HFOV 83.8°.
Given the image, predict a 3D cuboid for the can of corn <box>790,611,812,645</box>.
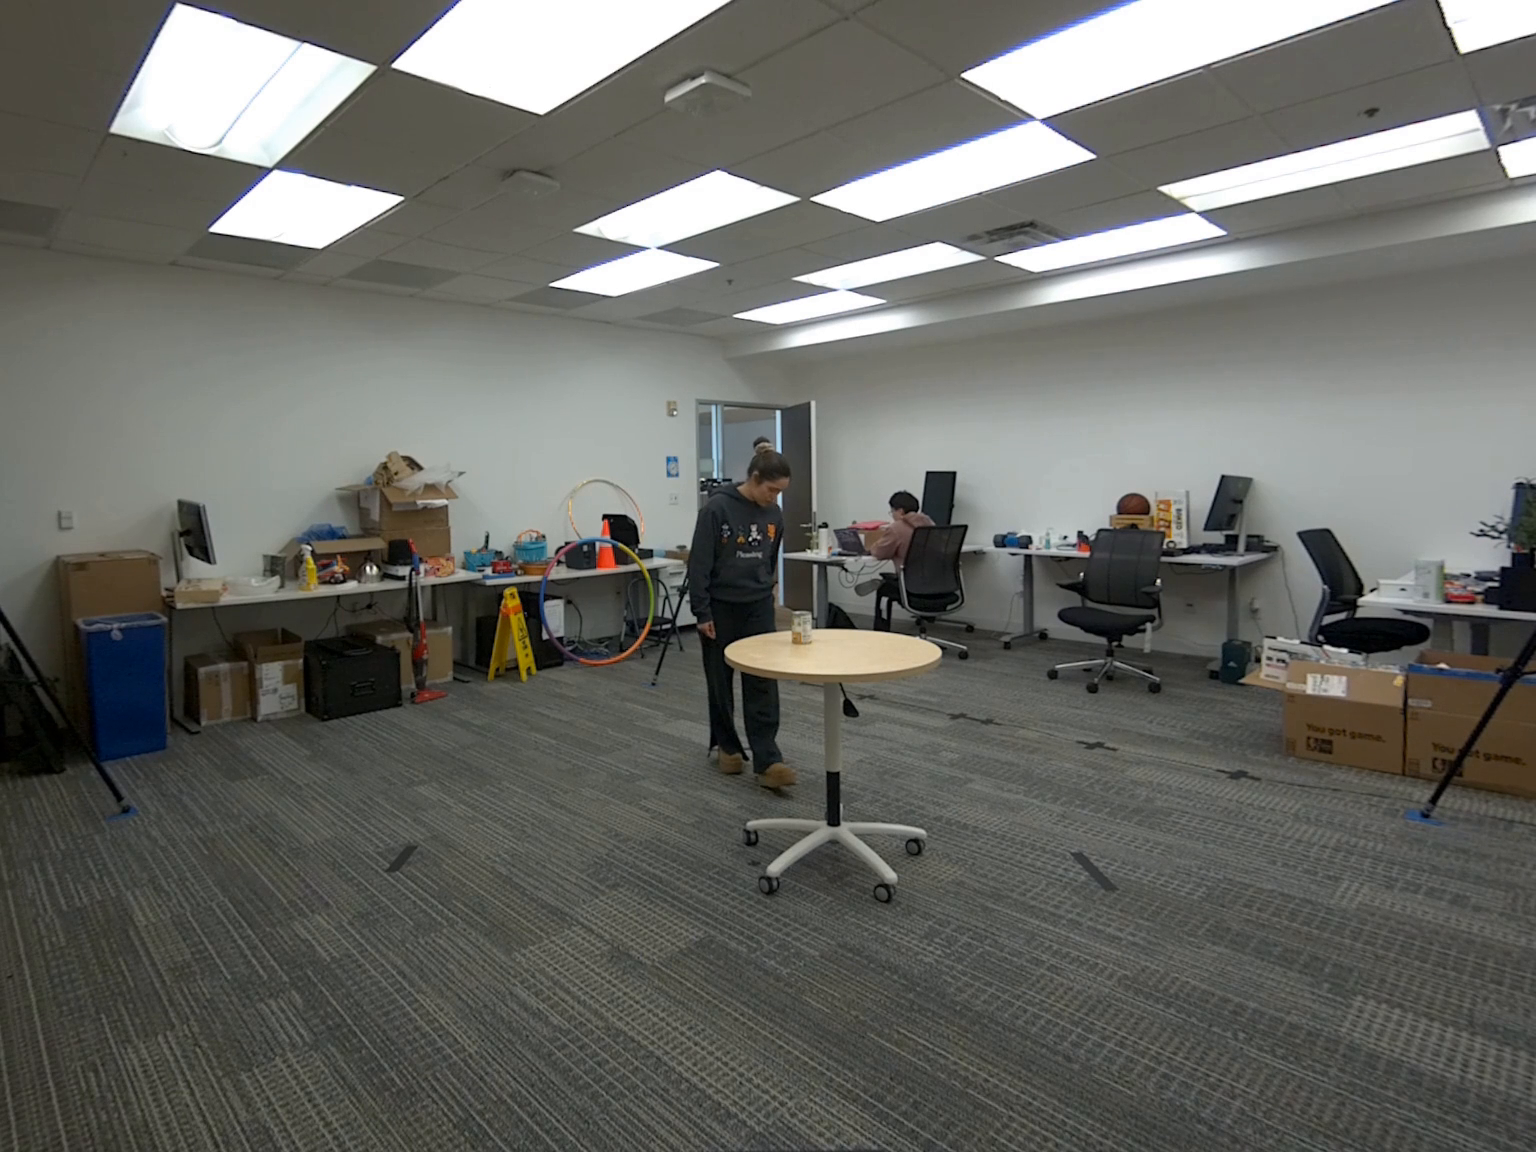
[{"bbox_3d":[0.127,0.197,3.172,0.074,0.111,0.074,-2,4,-2],"label":"can of corn"}]
